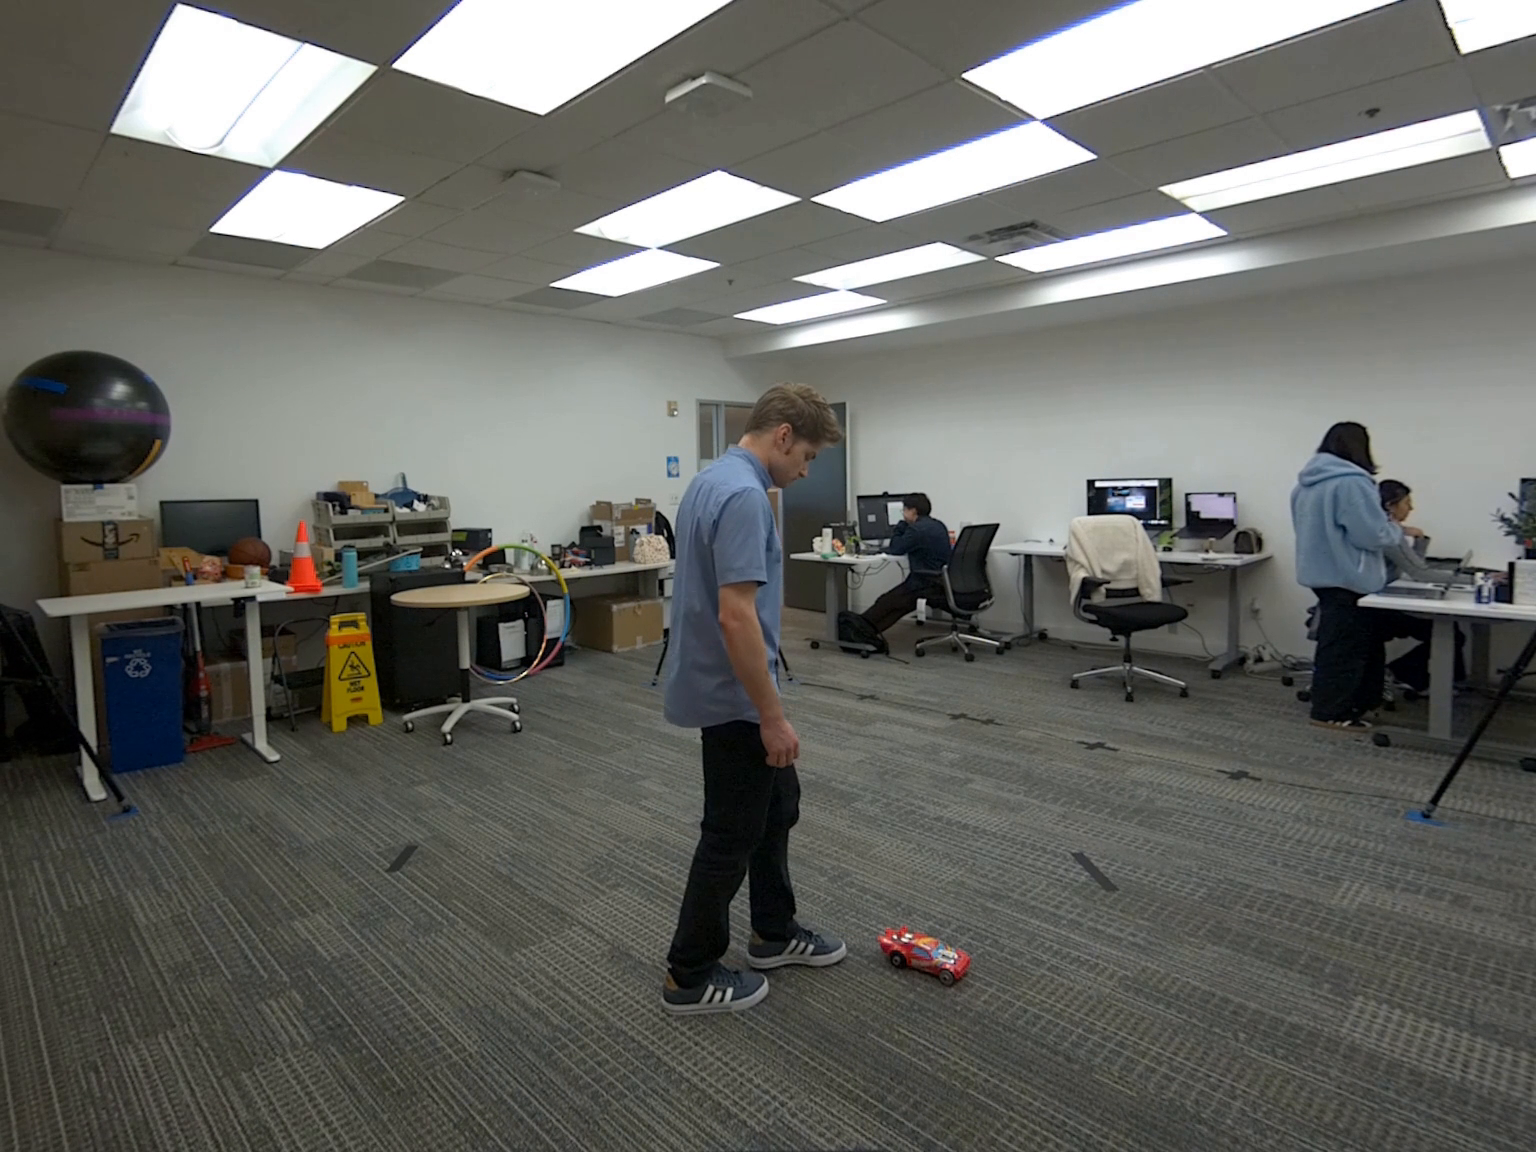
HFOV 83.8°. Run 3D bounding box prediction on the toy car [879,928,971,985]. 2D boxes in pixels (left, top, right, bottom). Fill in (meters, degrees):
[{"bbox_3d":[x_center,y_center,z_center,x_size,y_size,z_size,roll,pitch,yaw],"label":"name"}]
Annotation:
[{"bbox_3d":[0.452,1.085,2.442,0.263,0.082,0.127,15,14,32],"label":"toy car"}]
